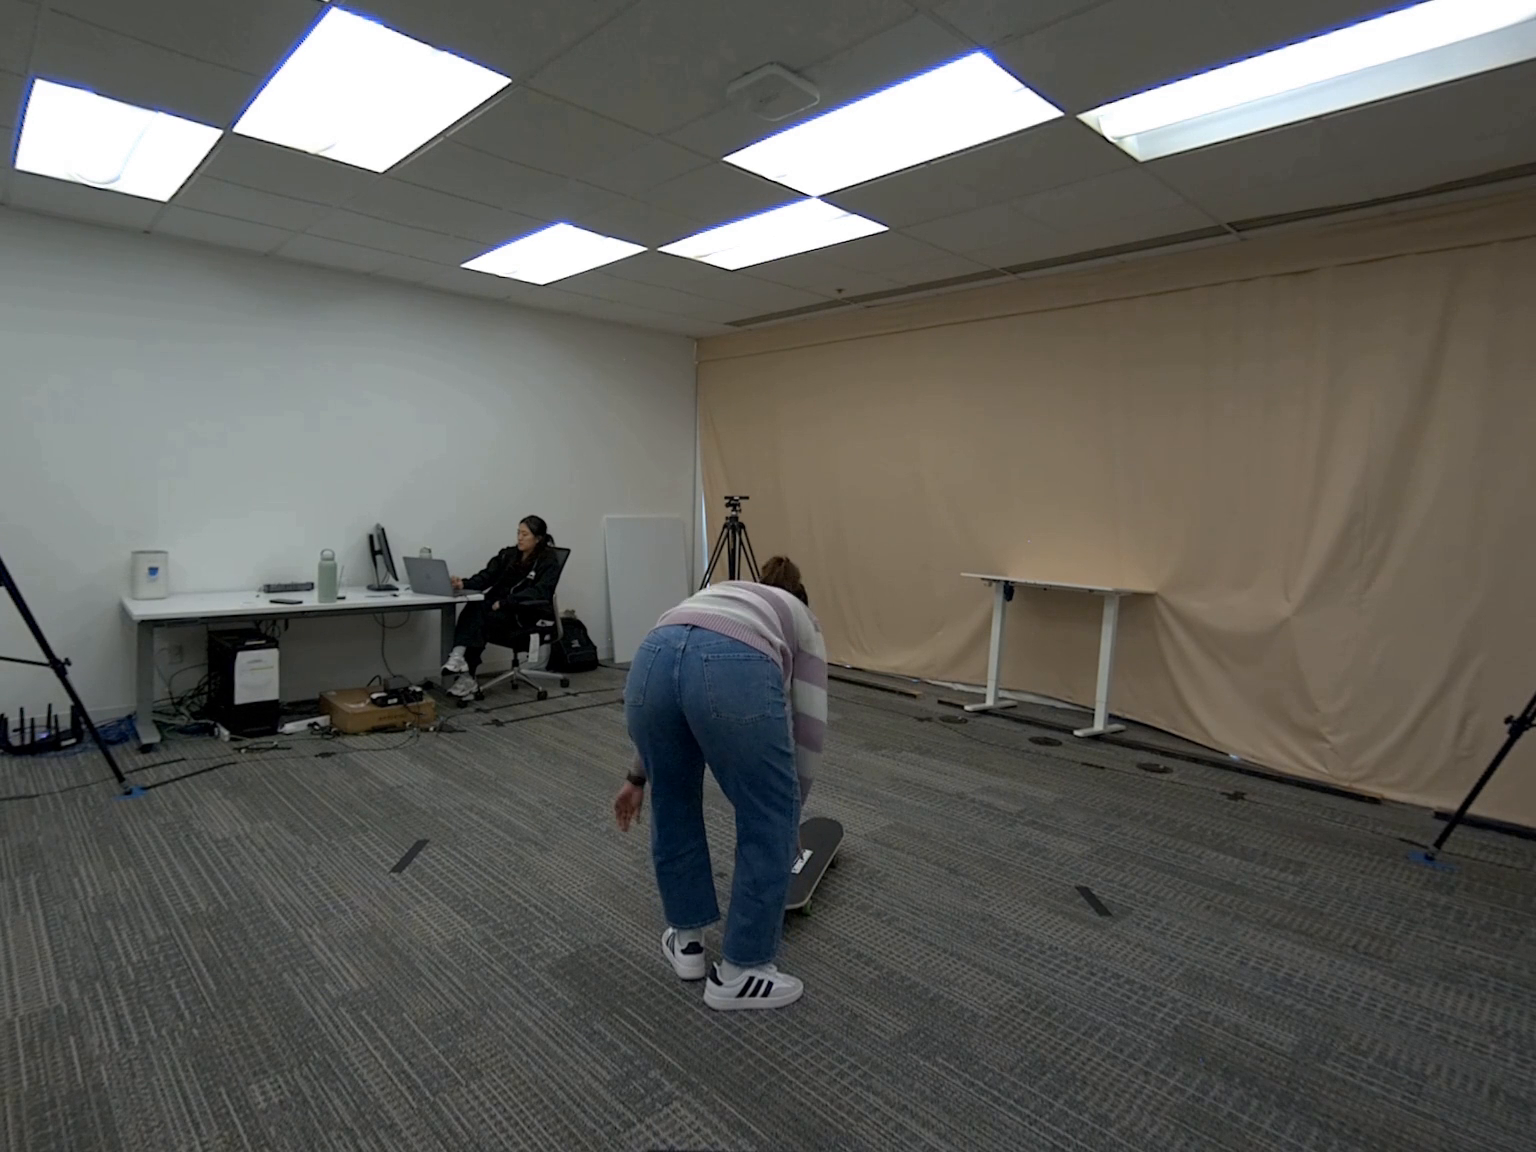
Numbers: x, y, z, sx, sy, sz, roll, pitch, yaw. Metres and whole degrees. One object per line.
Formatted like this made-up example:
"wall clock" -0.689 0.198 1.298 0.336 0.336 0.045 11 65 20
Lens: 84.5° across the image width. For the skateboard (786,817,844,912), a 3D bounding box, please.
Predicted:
"skateboard" 0.111 1.058 3.029 0.196 0.110 0.777 2 5 16
